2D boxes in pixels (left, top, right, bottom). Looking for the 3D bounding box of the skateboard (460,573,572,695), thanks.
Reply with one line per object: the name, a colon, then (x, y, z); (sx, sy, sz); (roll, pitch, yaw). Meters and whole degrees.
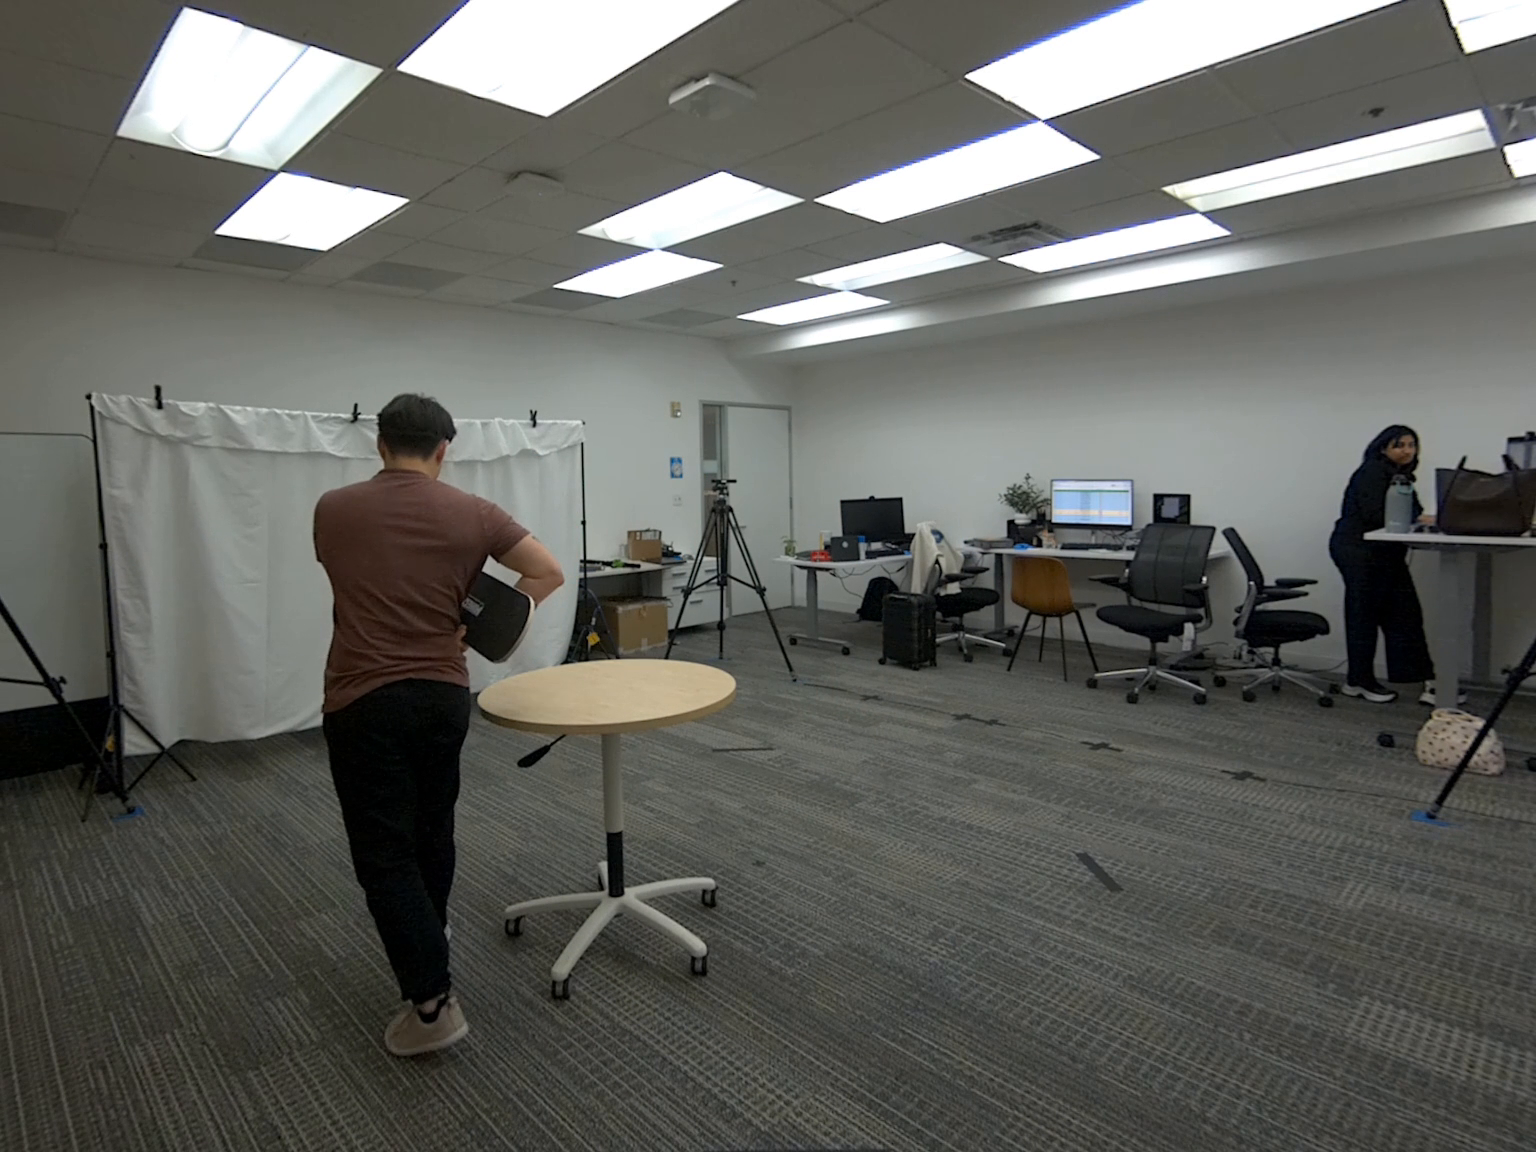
skateboard: (-0.837, 0.098, 2.441); (0.814, 0.194, 0.106); (19, -11, 48)
